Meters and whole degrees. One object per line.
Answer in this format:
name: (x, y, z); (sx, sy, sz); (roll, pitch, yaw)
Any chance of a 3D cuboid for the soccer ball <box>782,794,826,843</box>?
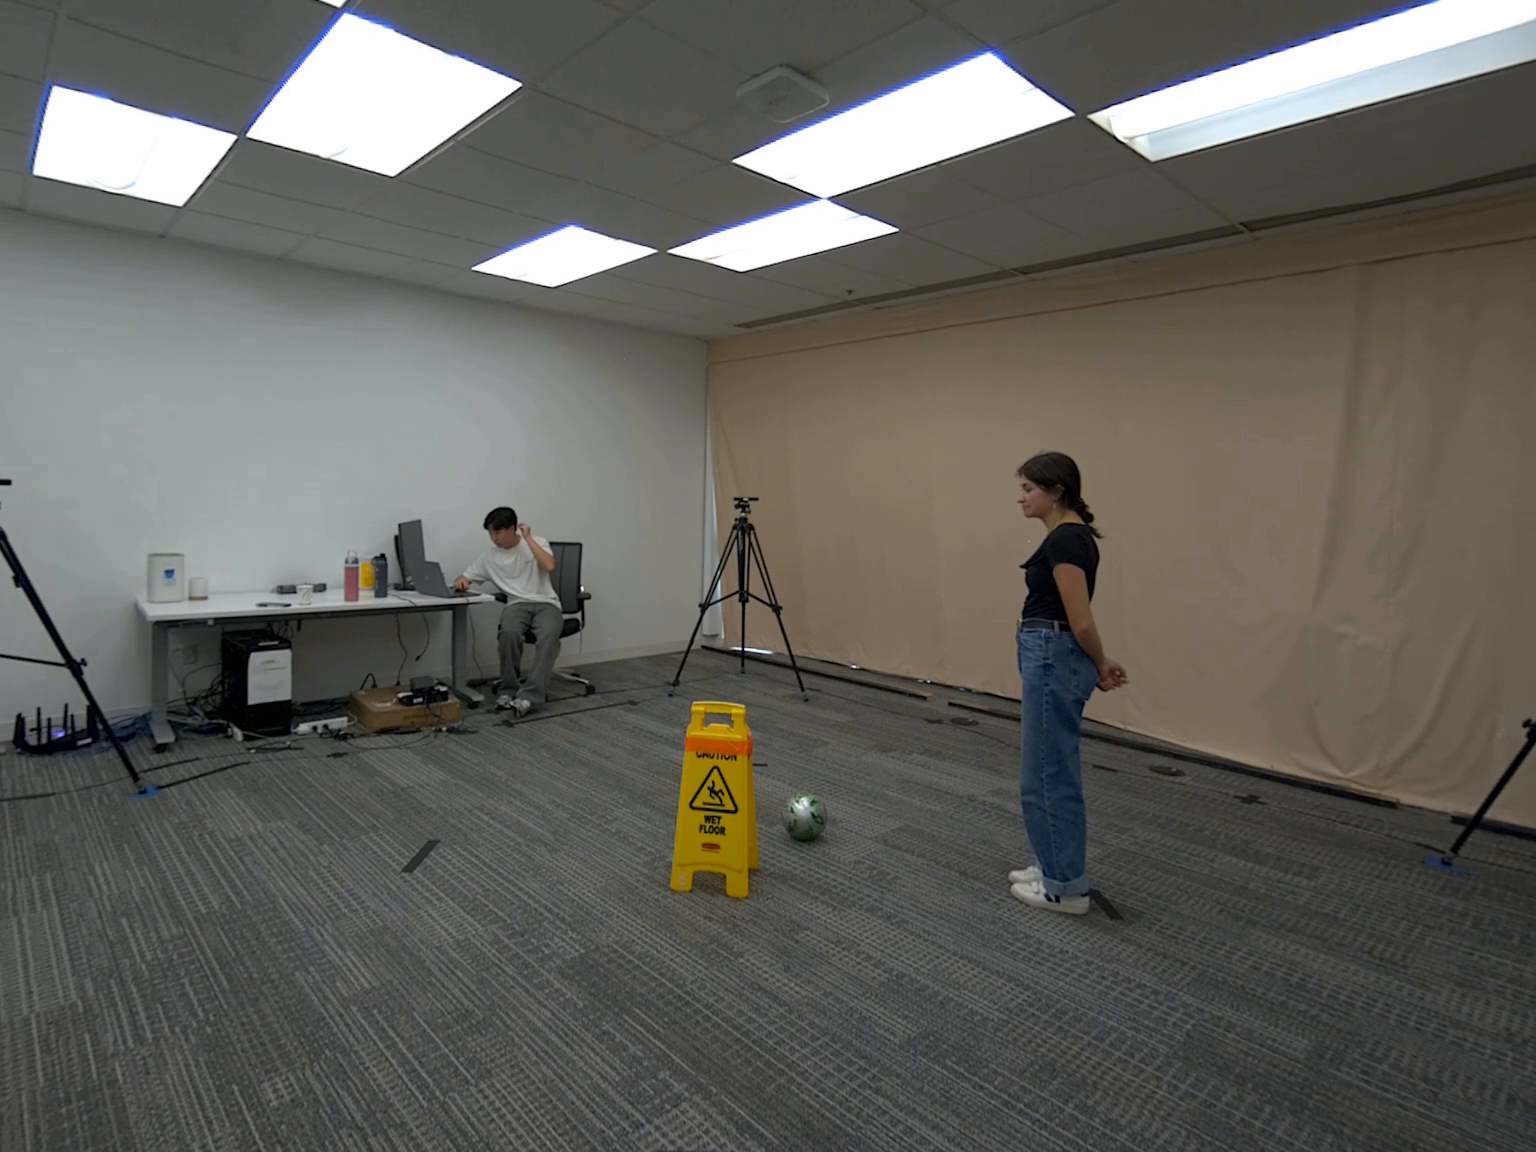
soccer ball: (0.140, 0.990, 3.459); (0.187, 0.187, 0.188); (1, 4, -1)
